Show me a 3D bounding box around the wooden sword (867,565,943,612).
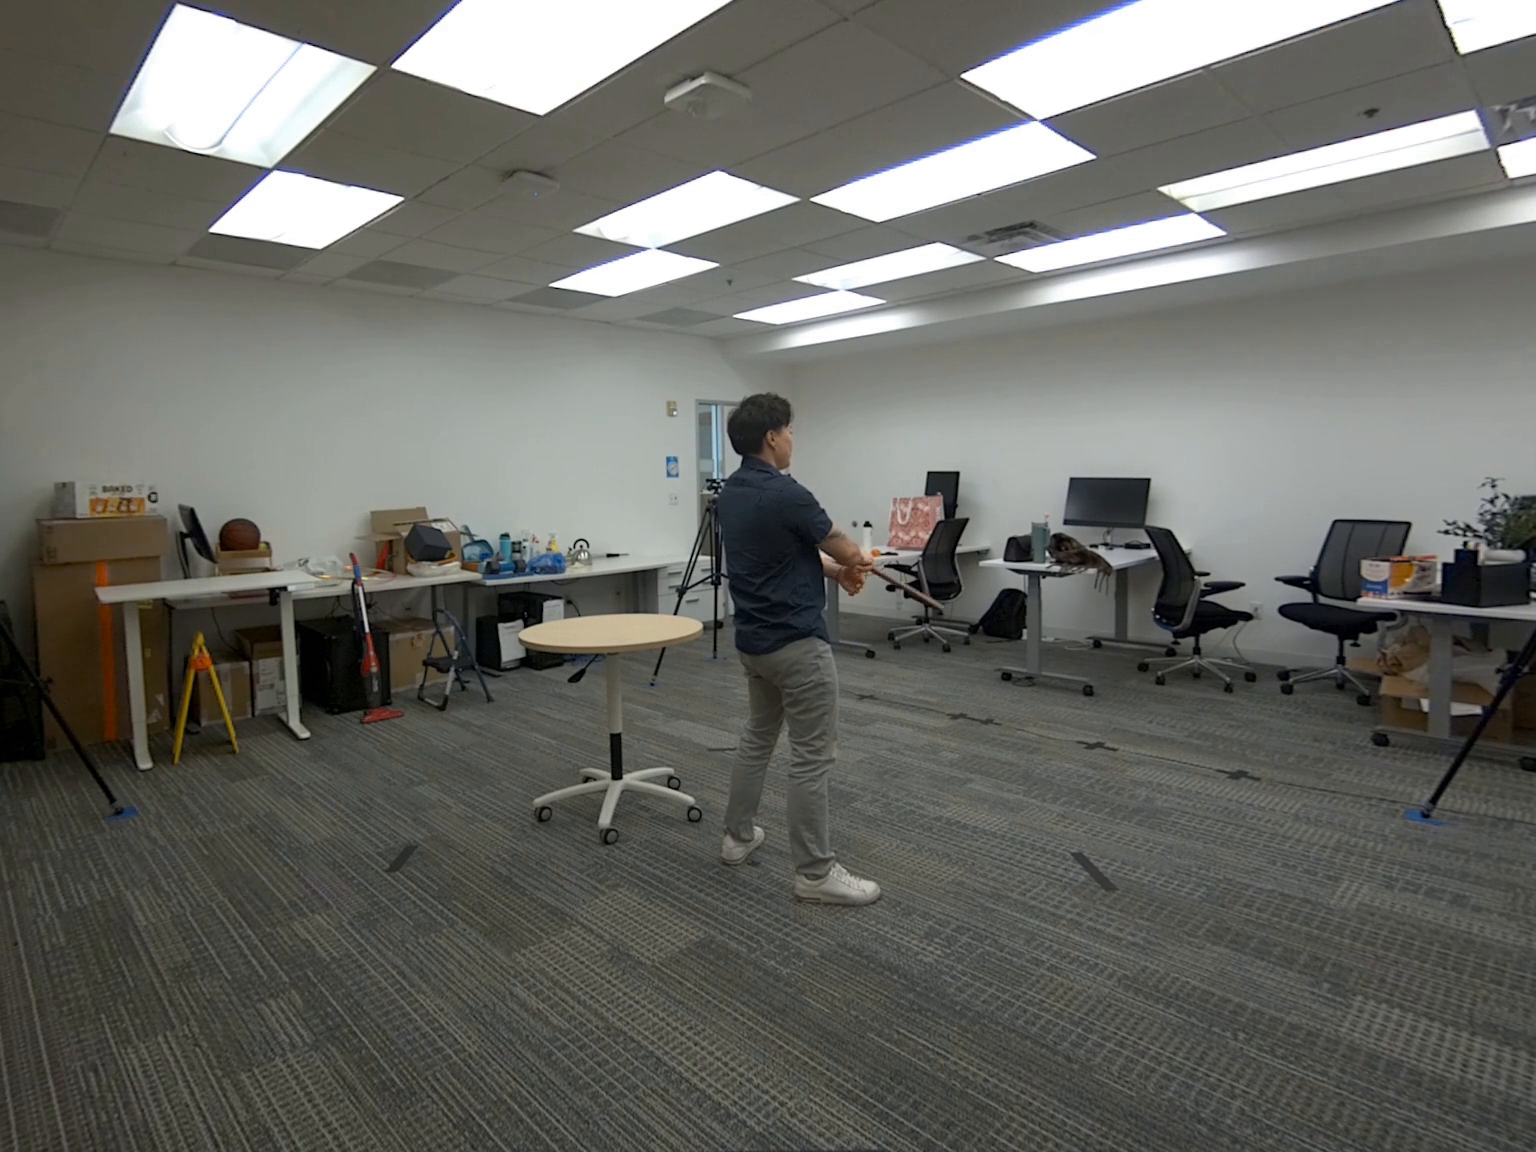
[{"bbox_3d":[0.319,-0.073,3.234,0.049,0.024,1.065,13,15,-38],"label":"wooden sword"}]
